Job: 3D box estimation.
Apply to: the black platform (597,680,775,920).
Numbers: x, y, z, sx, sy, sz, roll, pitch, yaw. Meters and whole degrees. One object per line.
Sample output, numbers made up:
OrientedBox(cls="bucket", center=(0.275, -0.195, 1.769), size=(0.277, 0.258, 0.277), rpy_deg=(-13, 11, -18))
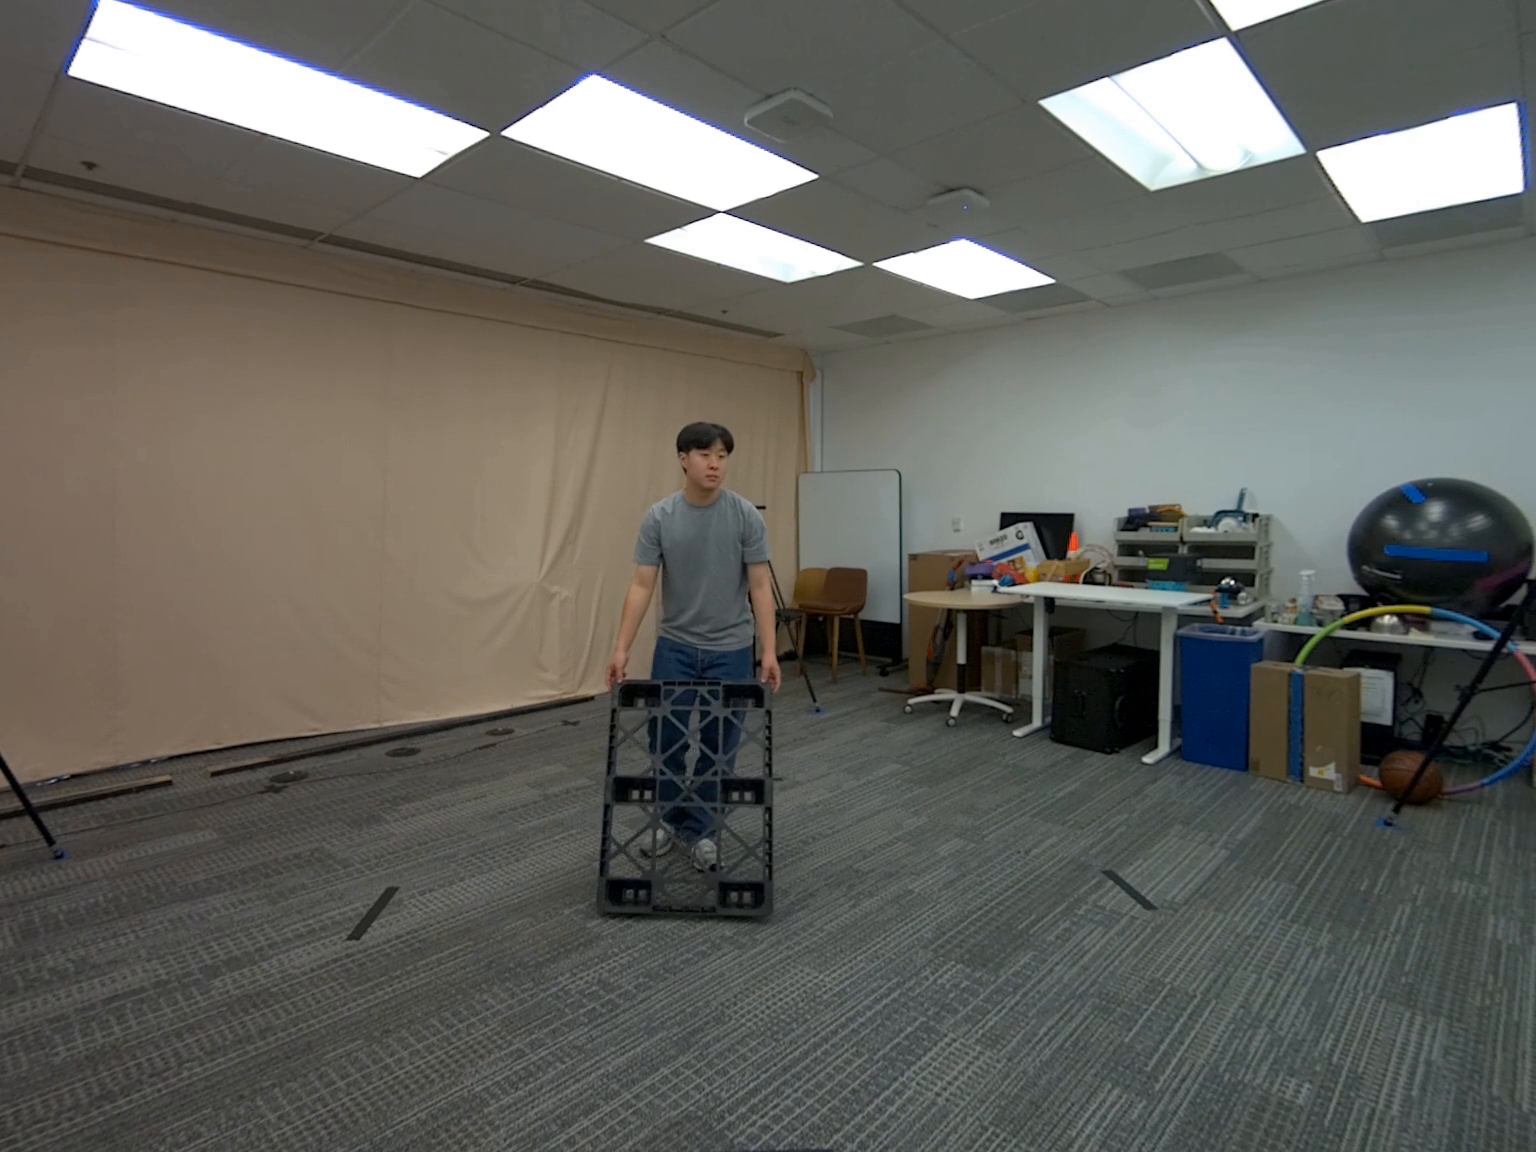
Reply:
OrientedBox(cls="black platform", center=(-0.279, 0.788, 3.024), size=(0.608, 0.816, 0.141), rpy_deg=(-1, -22, 4))
